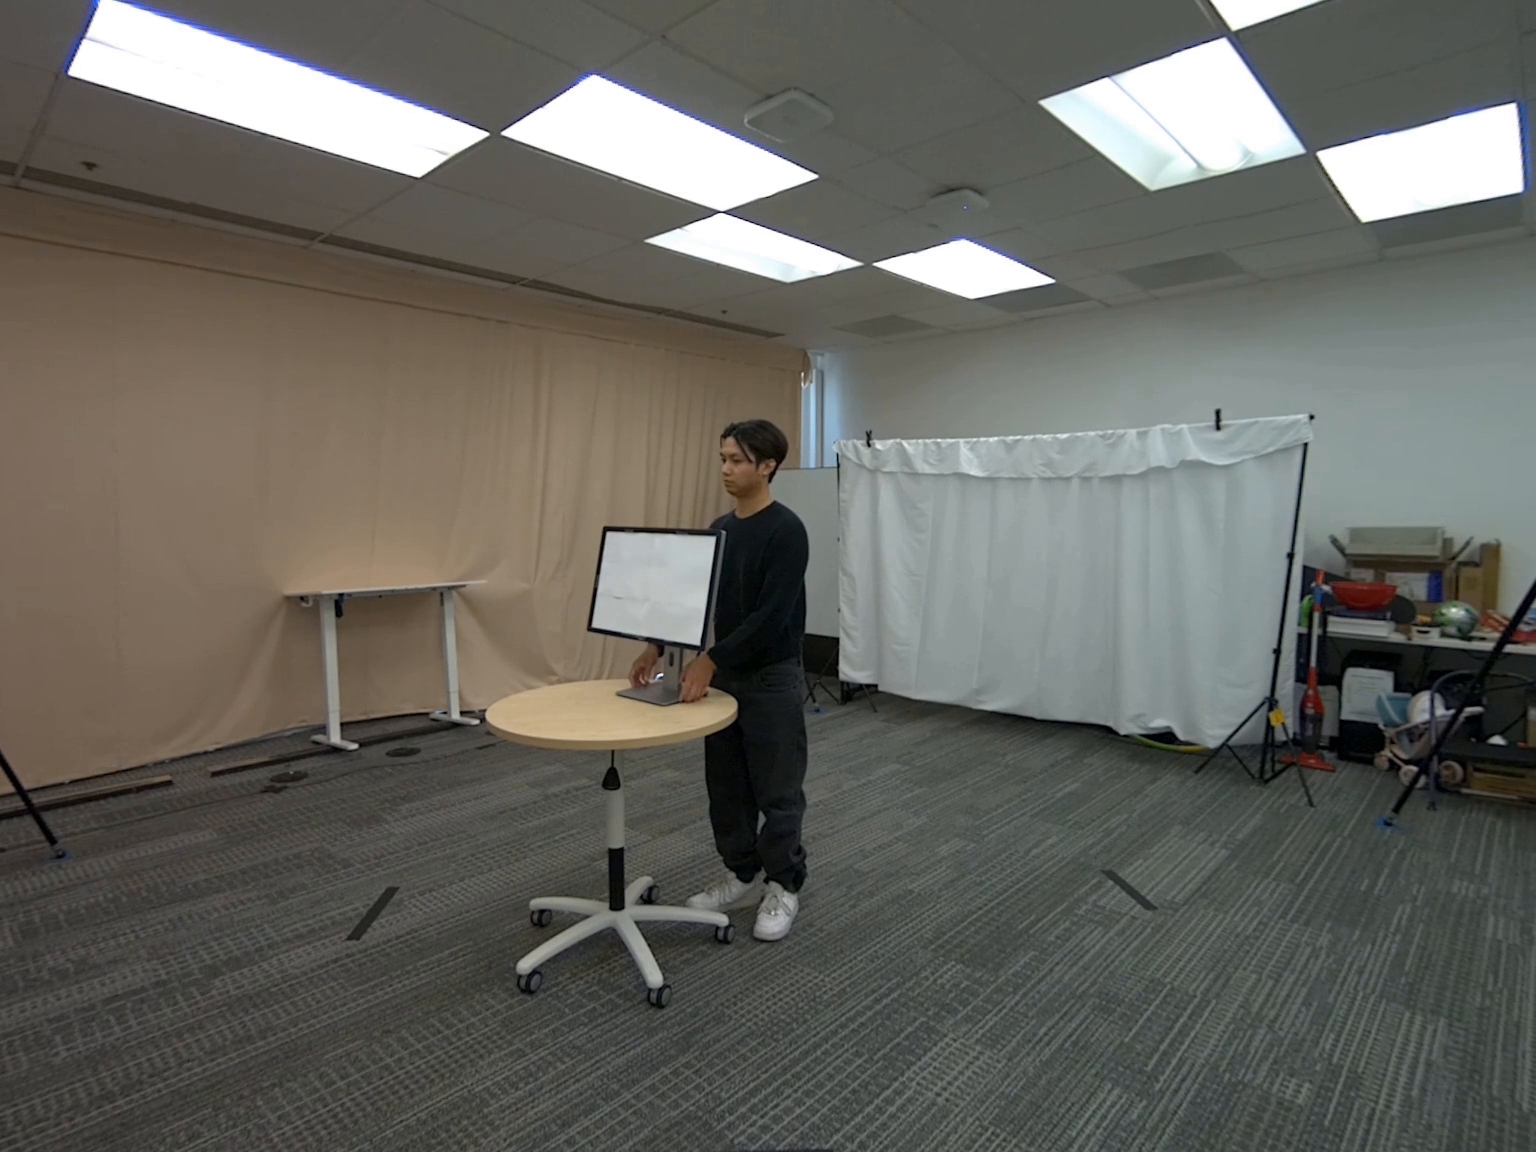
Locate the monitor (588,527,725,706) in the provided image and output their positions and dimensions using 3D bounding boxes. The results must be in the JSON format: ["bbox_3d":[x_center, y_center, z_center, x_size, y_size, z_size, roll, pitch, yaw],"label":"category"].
[{"bbox_3d":[-0.343,0.119,2.718,0.557,0.521,0.181,3,4,38],"label":"monitor"}]
